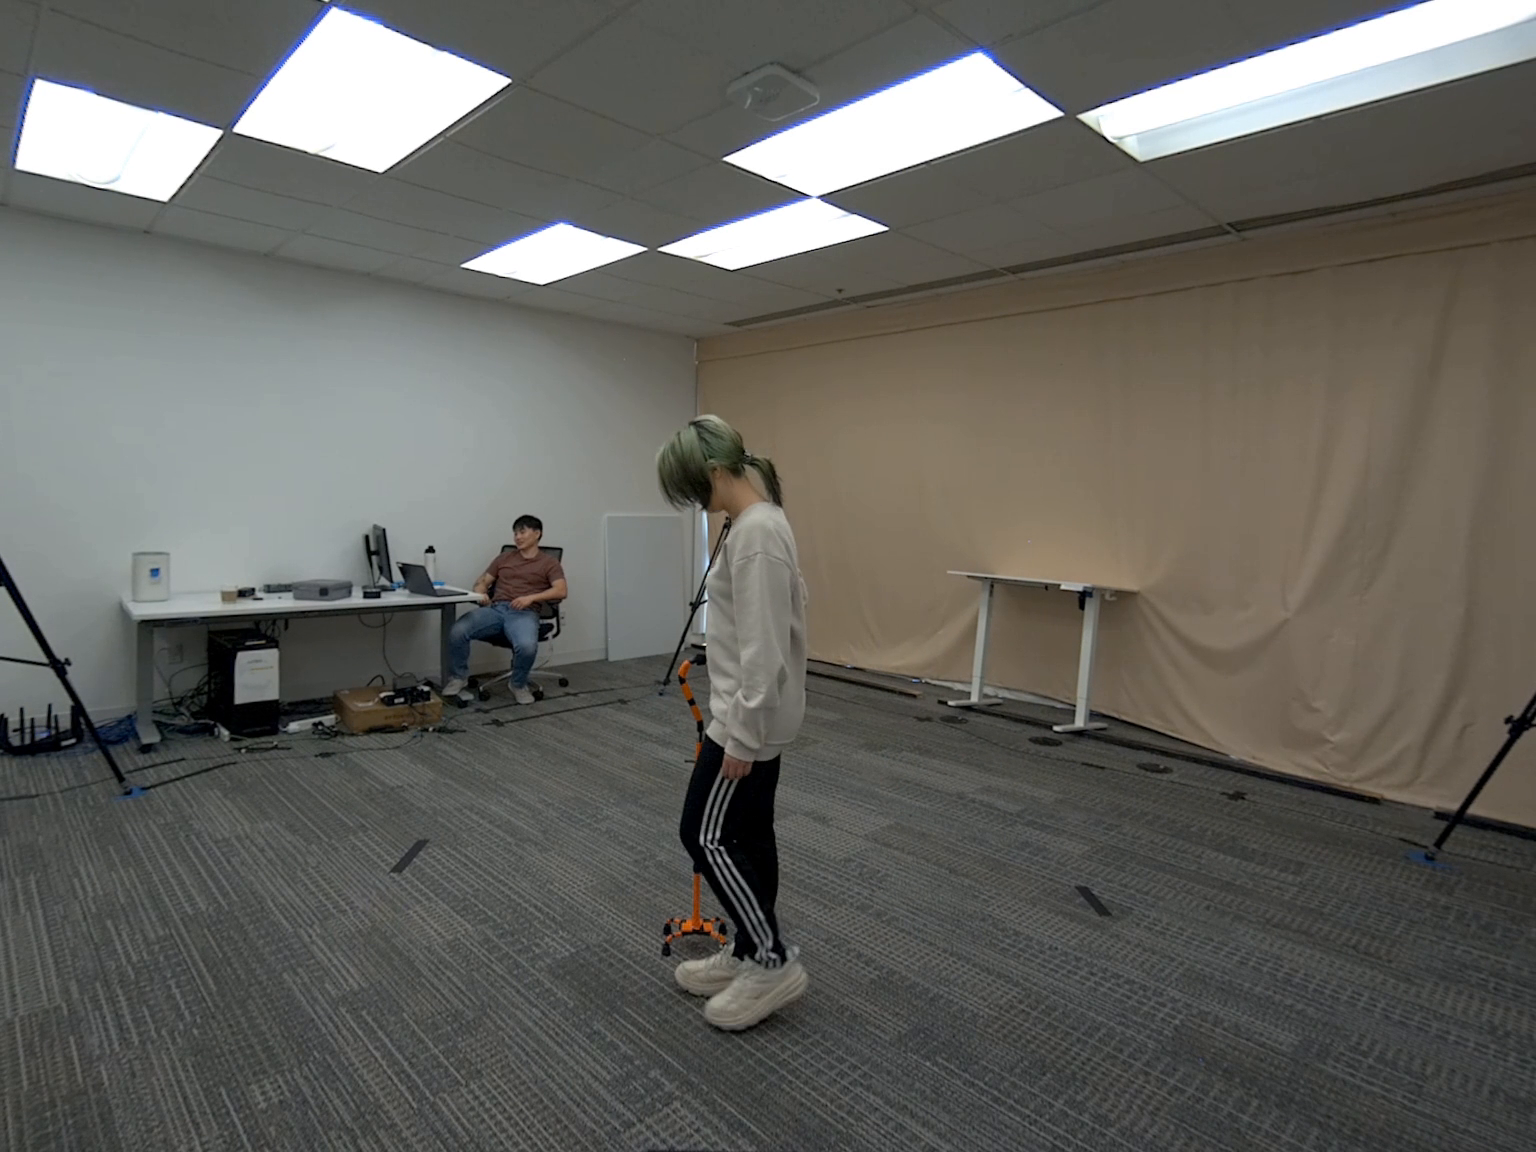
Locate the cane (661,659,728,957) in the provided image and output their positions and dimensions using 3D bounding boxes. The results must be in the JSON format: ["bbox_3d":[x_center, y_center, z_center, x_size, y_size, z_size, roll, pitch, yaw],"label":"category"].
[{"bbox_3d":[-0.228,0.697,2.596,0.206,0.906,0.152,0,3,-5],"label":"cane"}]
